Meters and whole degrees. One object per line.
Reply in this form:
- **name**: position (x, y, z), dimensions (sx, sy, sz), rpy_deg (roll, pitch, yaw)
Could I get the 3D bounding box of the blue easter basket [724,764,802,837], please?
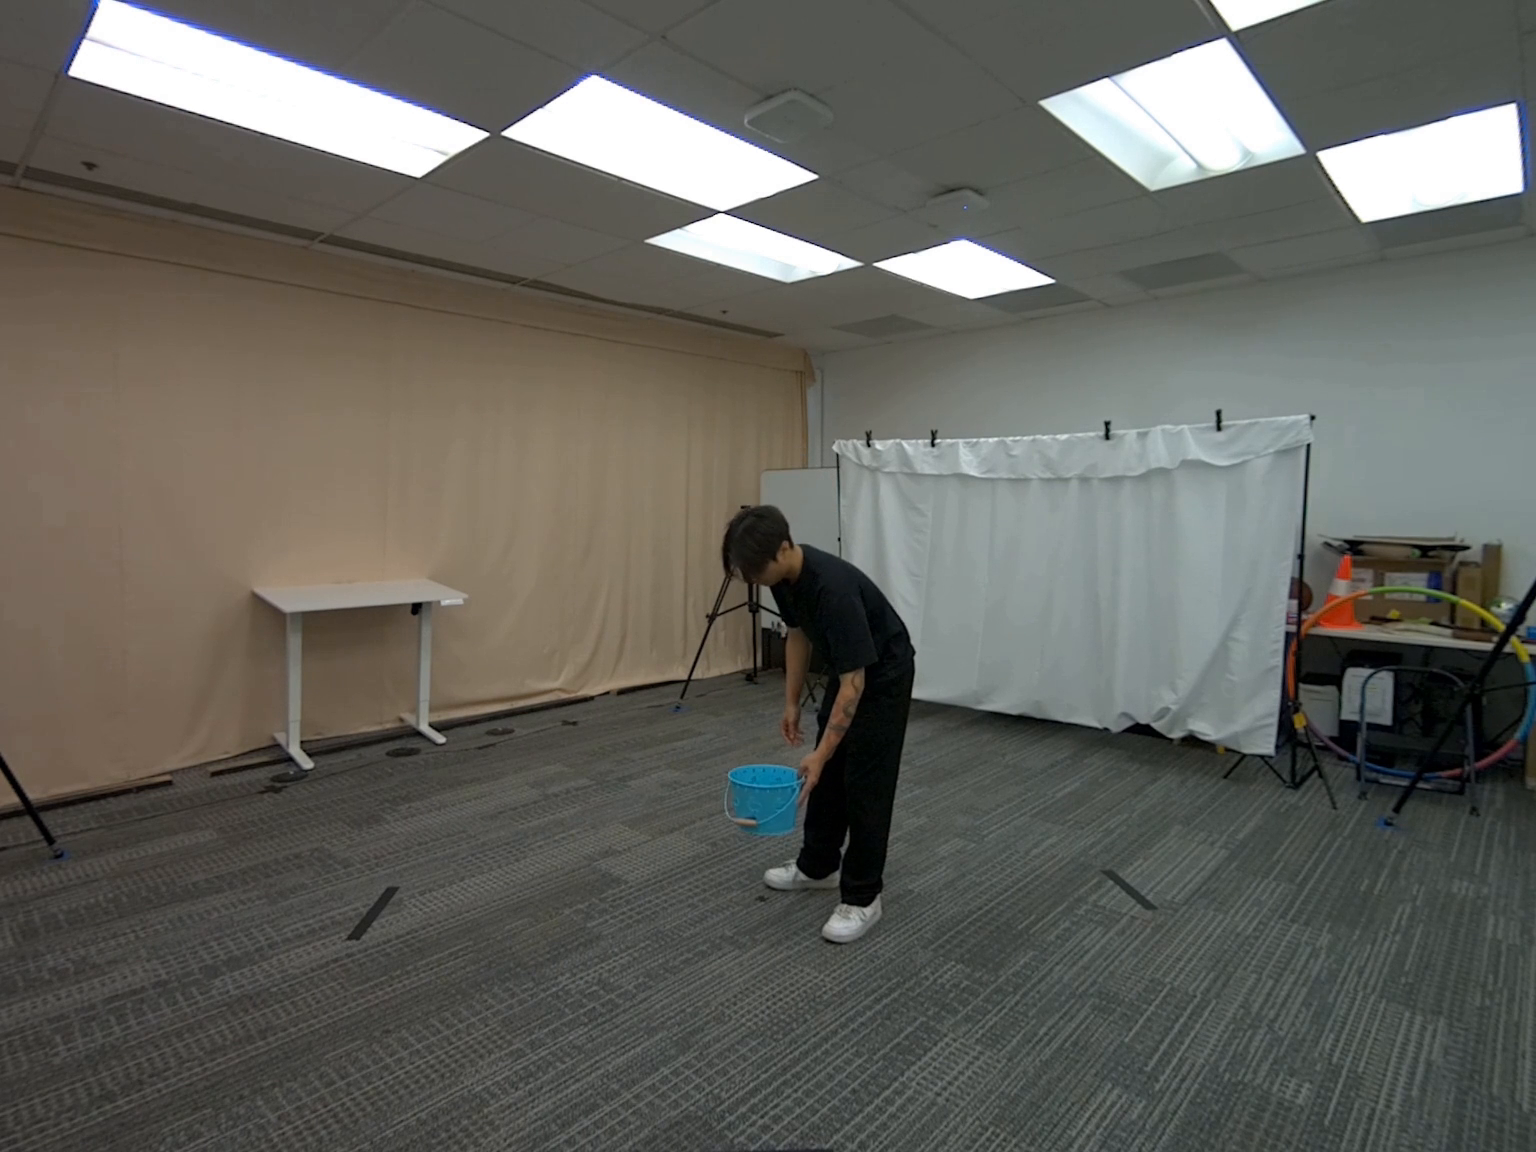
- **blue easter basket**: position (-0.009, 0.684, 2.552), dimensions (0.243, 0.156, 0.244), rpy_deg (1, 1, -2)
